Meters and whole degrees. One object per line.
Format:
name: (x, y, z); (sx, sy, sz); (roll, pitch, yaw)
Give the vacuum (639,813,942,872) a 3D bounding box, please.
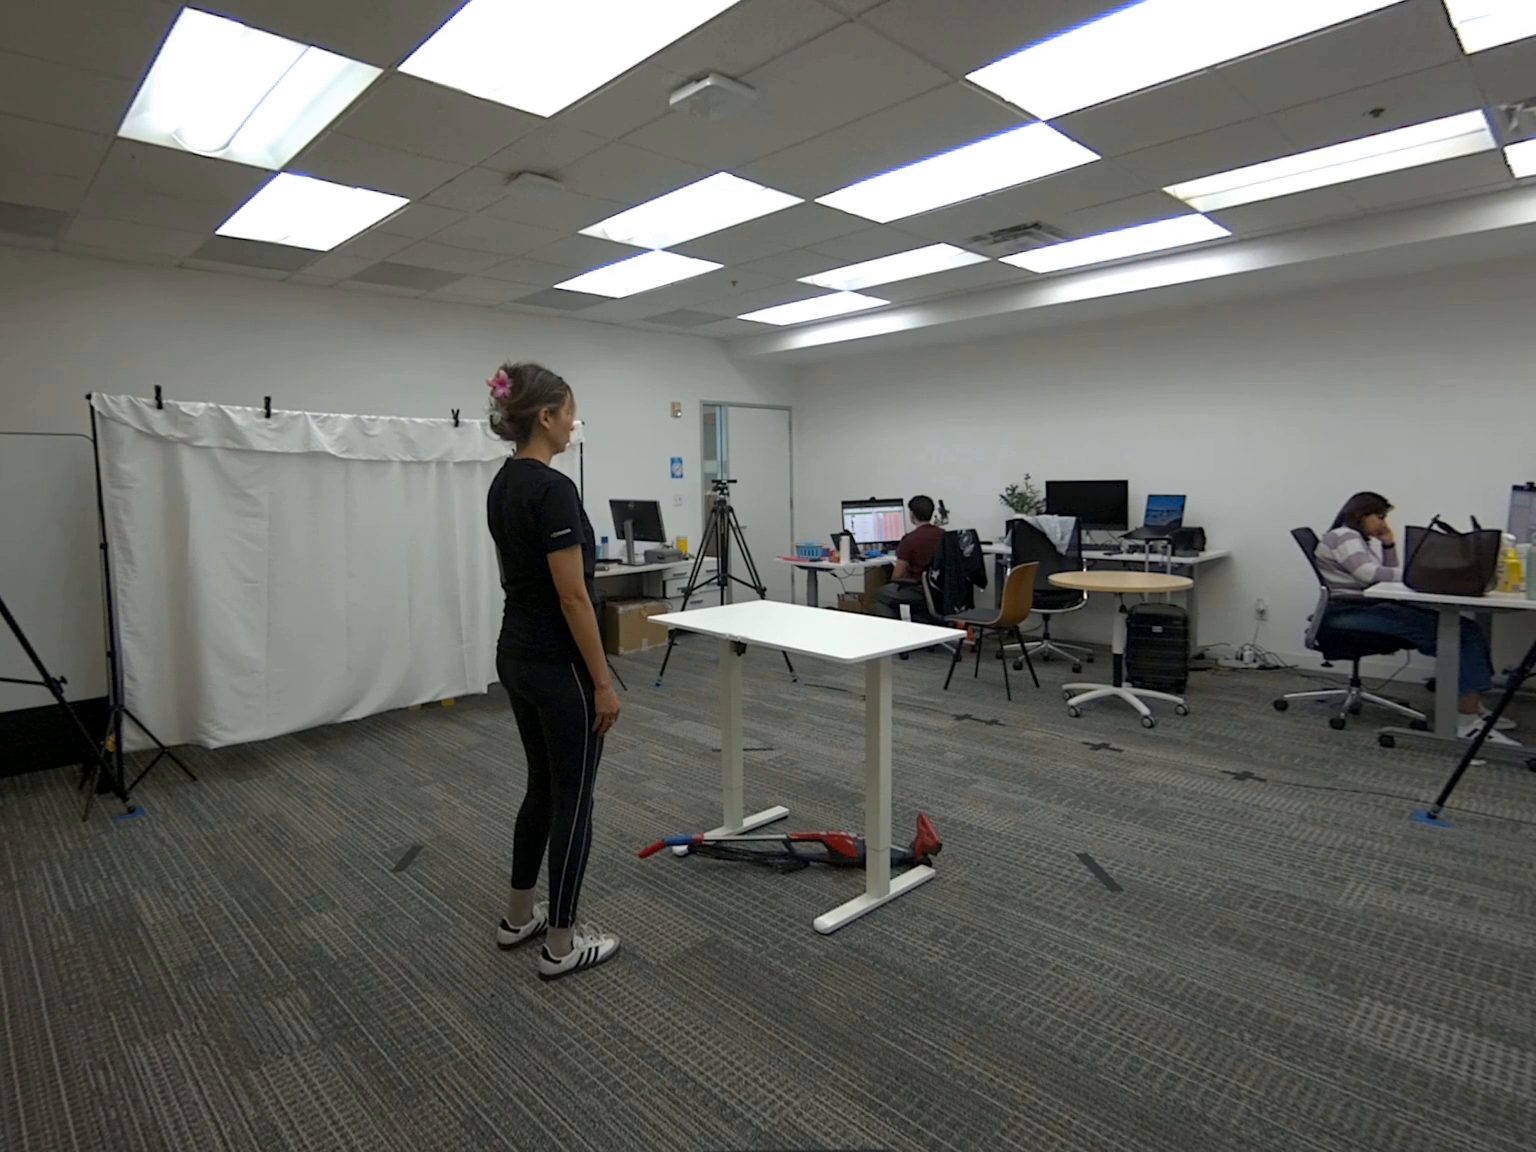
vacuum: (0.062, 0.983, 3.074); (1.048, 0.143, 0.254); (-3, 7, -1)
